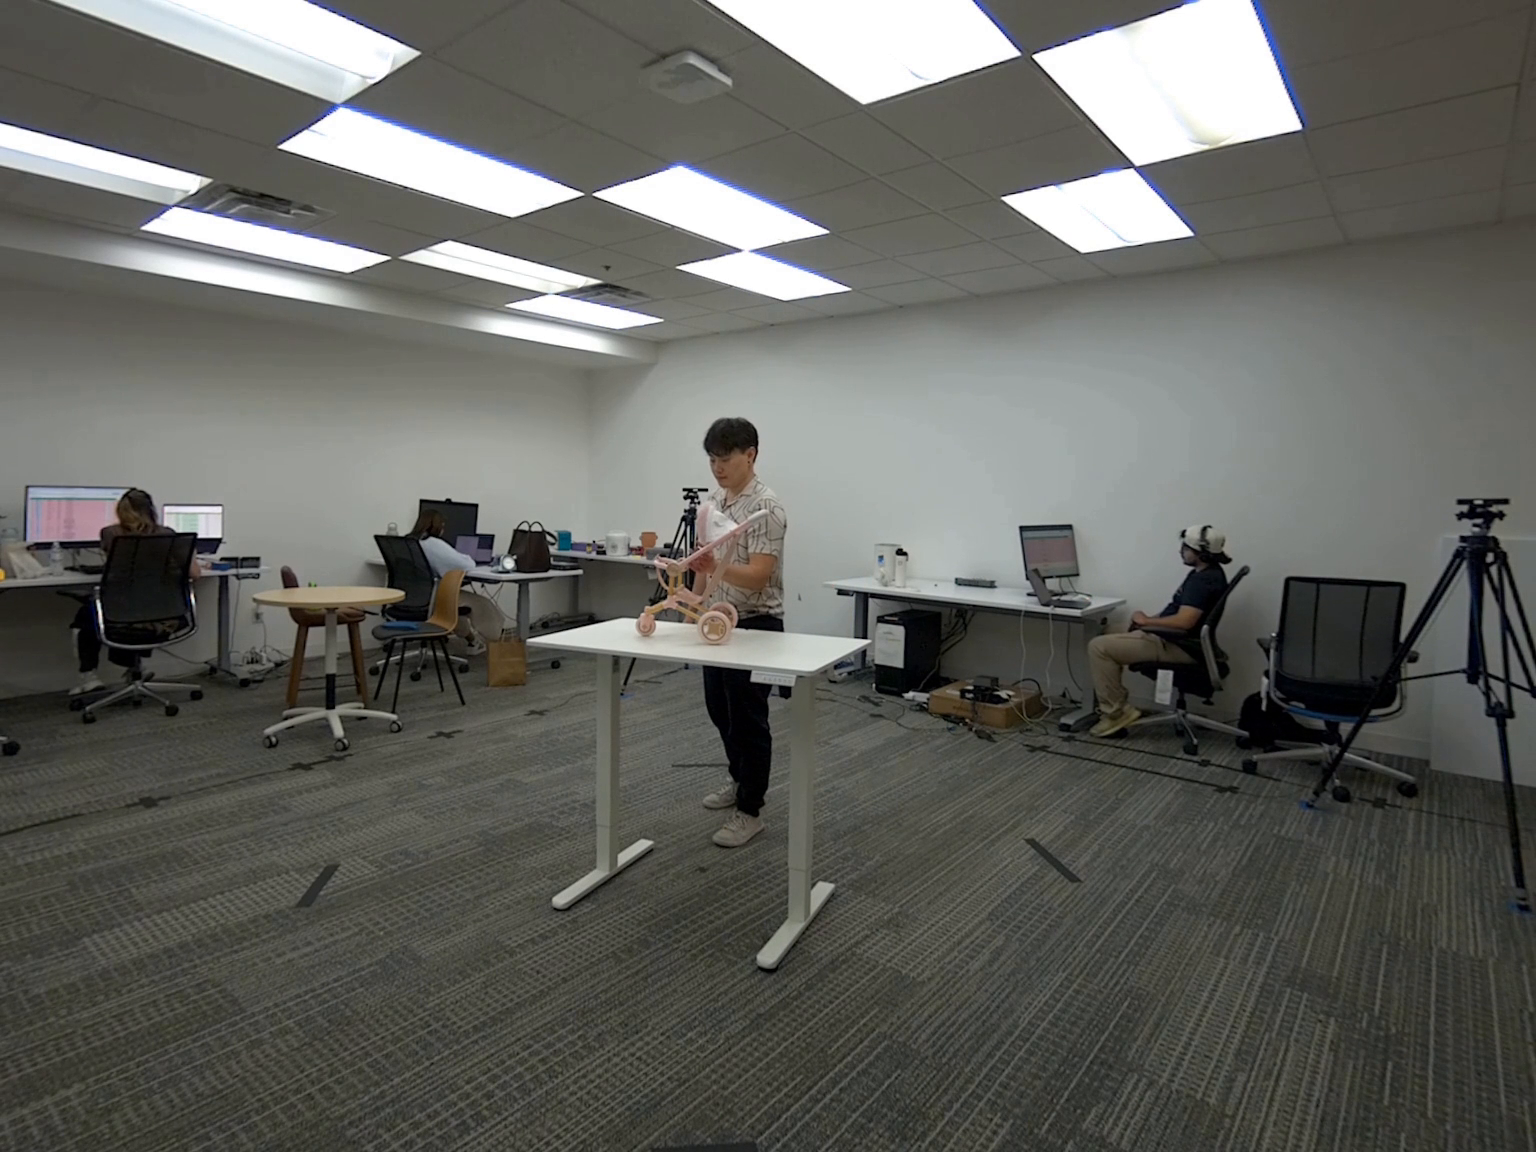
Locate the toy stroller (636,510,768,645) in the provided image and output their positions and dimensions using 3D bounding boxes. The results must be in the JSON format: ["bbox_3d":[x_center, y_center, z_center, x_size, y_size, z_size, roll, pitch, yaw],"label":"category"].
[{"bbox_3d":[-0.239,-0.016,2.888,0.346,0.533,0.279,16,5,9],"label":"toy stroller"}]
